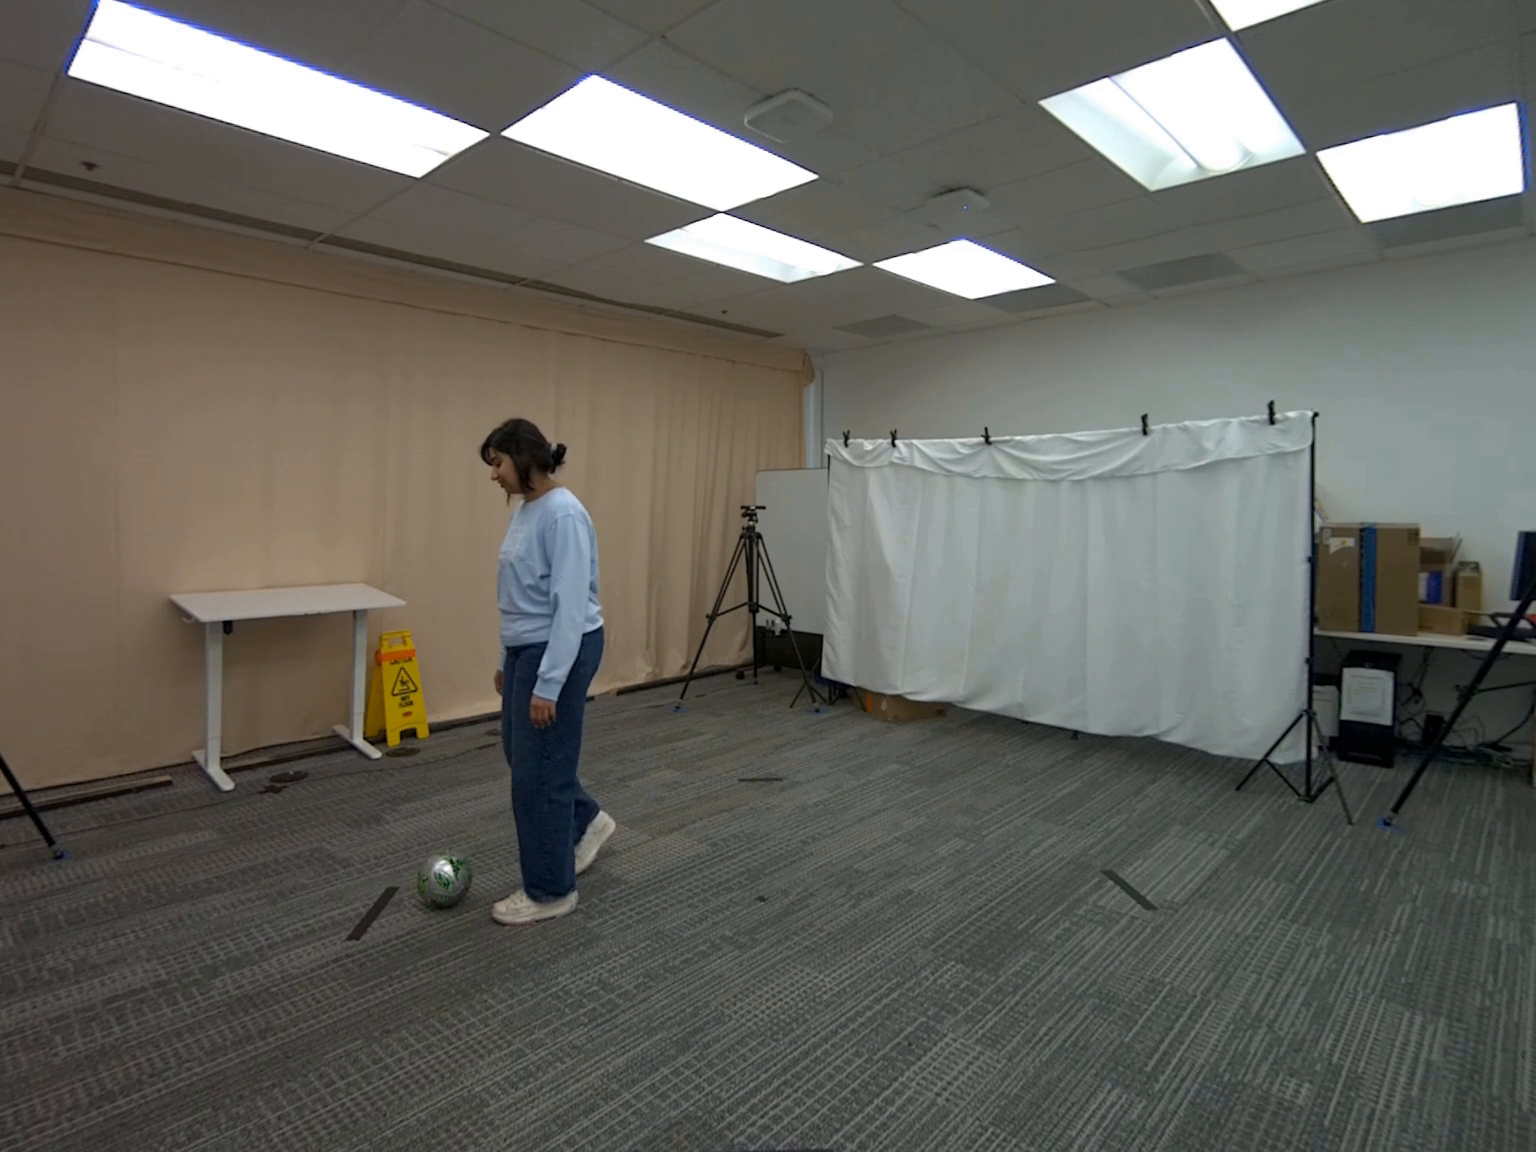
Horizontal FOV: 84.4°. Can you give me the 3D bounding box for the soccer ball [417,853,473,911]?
[{"bbox_3d":[-1.138,1.069,2.957,0.187,0.187,0.188,0,4,-2],"label":"soccer ball"}]
